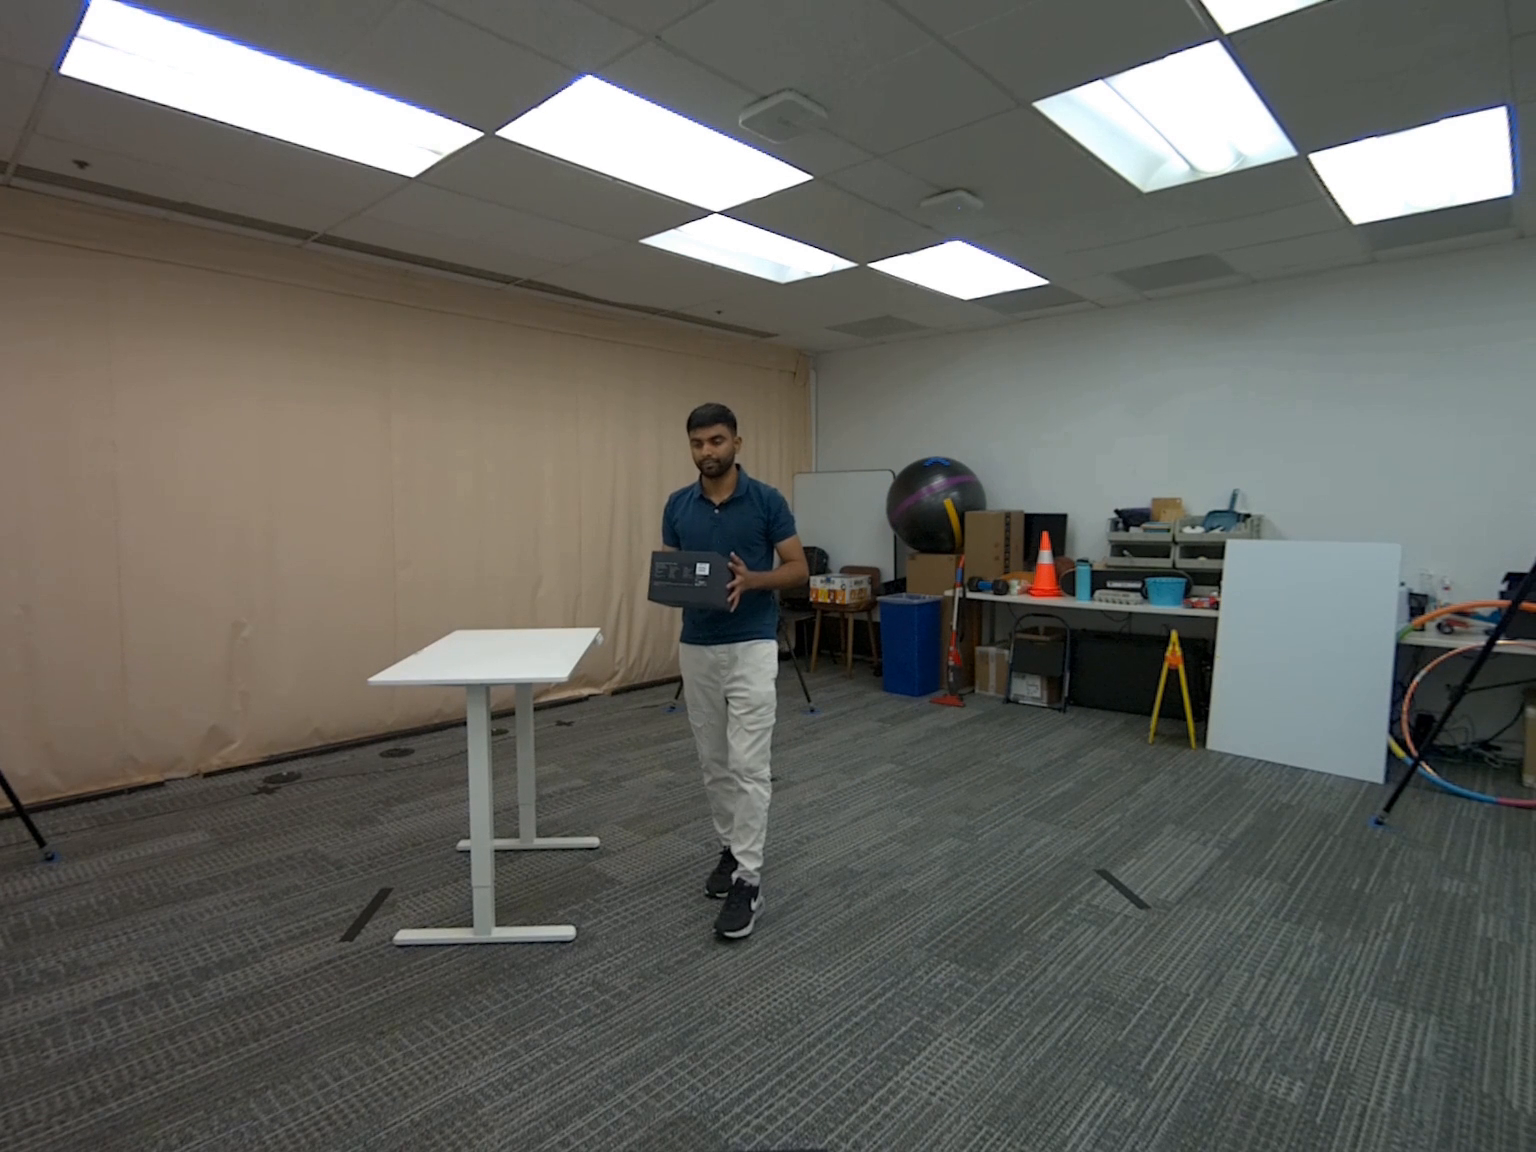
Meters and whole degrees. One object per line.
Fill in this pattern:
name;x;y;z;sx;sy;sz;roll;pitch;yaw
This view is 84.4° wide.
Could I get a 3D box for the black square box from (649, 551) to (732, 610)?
black square box;-0.231;0.016;2.680;0.221;0.157;0.223;0;-8;15
